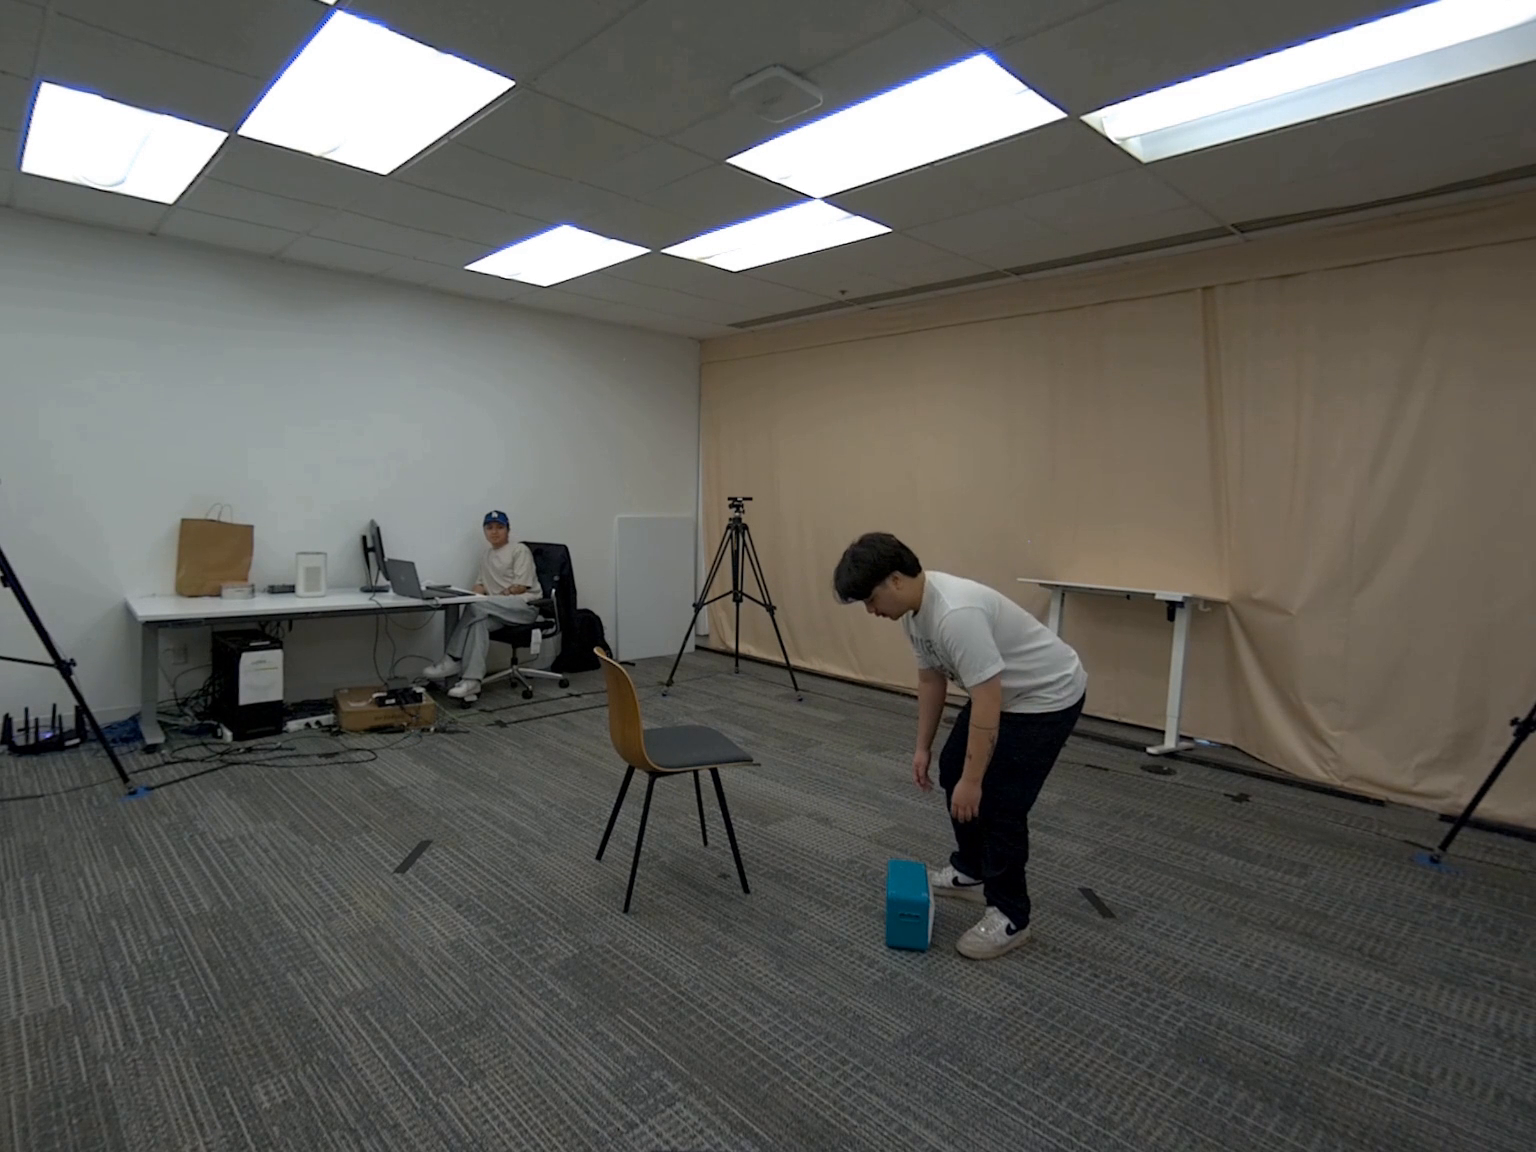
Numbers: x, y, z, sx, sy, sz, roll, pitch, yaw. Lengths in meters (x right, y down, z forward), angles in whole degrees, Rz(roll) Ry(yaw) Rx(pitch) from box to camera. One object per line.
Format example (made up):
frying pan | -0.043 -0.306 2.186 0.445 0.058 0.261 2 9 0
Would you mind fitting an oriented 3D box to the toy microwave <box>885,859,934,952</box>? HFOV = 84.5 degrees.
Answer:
toy microwave | 0.452 1.064 2.733 0.153 0.183 0.285 0 5 8
